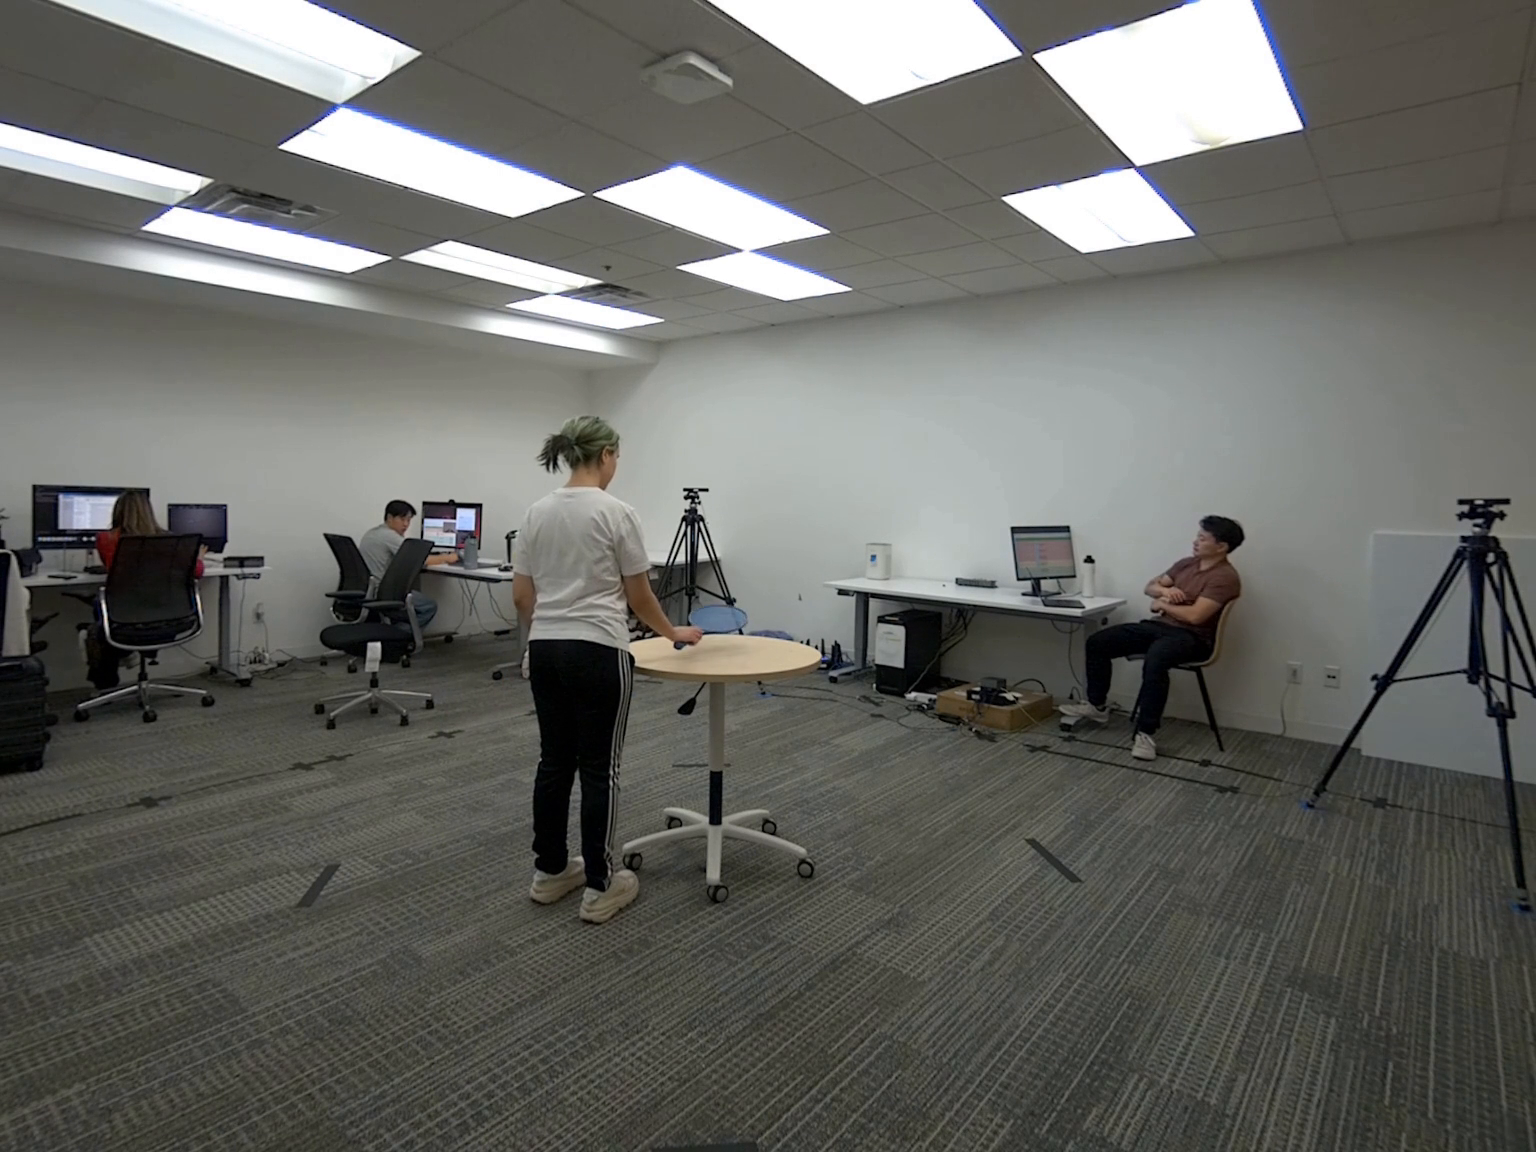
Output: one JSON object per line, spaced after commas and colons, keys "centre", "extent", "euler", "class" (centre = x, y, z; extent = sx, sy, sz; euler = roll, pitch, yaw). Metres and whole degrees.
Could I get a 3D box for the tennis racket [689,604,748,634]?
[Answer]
{"centre": [-0.229, 0.182, 3.176], "extent": [0.221, 0.031, 0.424], "euler": [18, 24, 33], "class": "tennis racket"}
